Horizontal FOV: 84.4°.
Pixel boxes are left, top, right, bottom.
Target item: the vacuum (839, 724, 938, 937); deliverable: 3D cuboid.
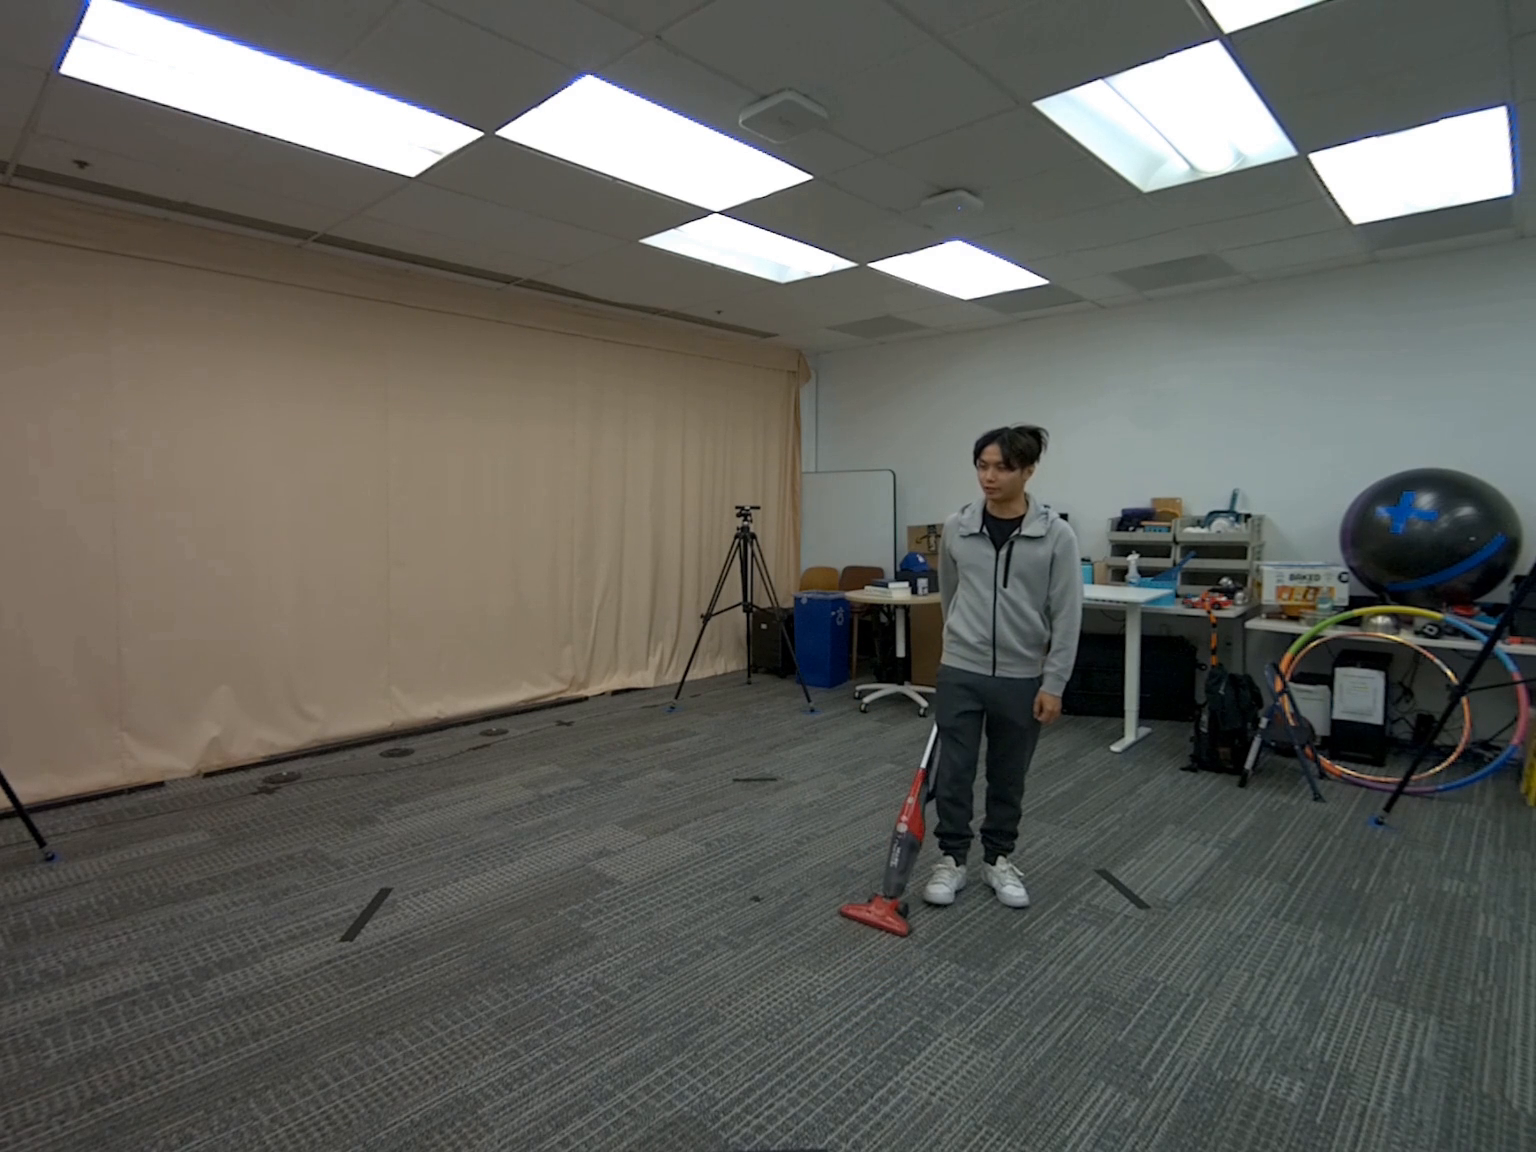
[{"bbox_3d":[0.565,0.743,3.069,0.260,1.051,0.139,9,-34,27],"label":"vacuum"}]
